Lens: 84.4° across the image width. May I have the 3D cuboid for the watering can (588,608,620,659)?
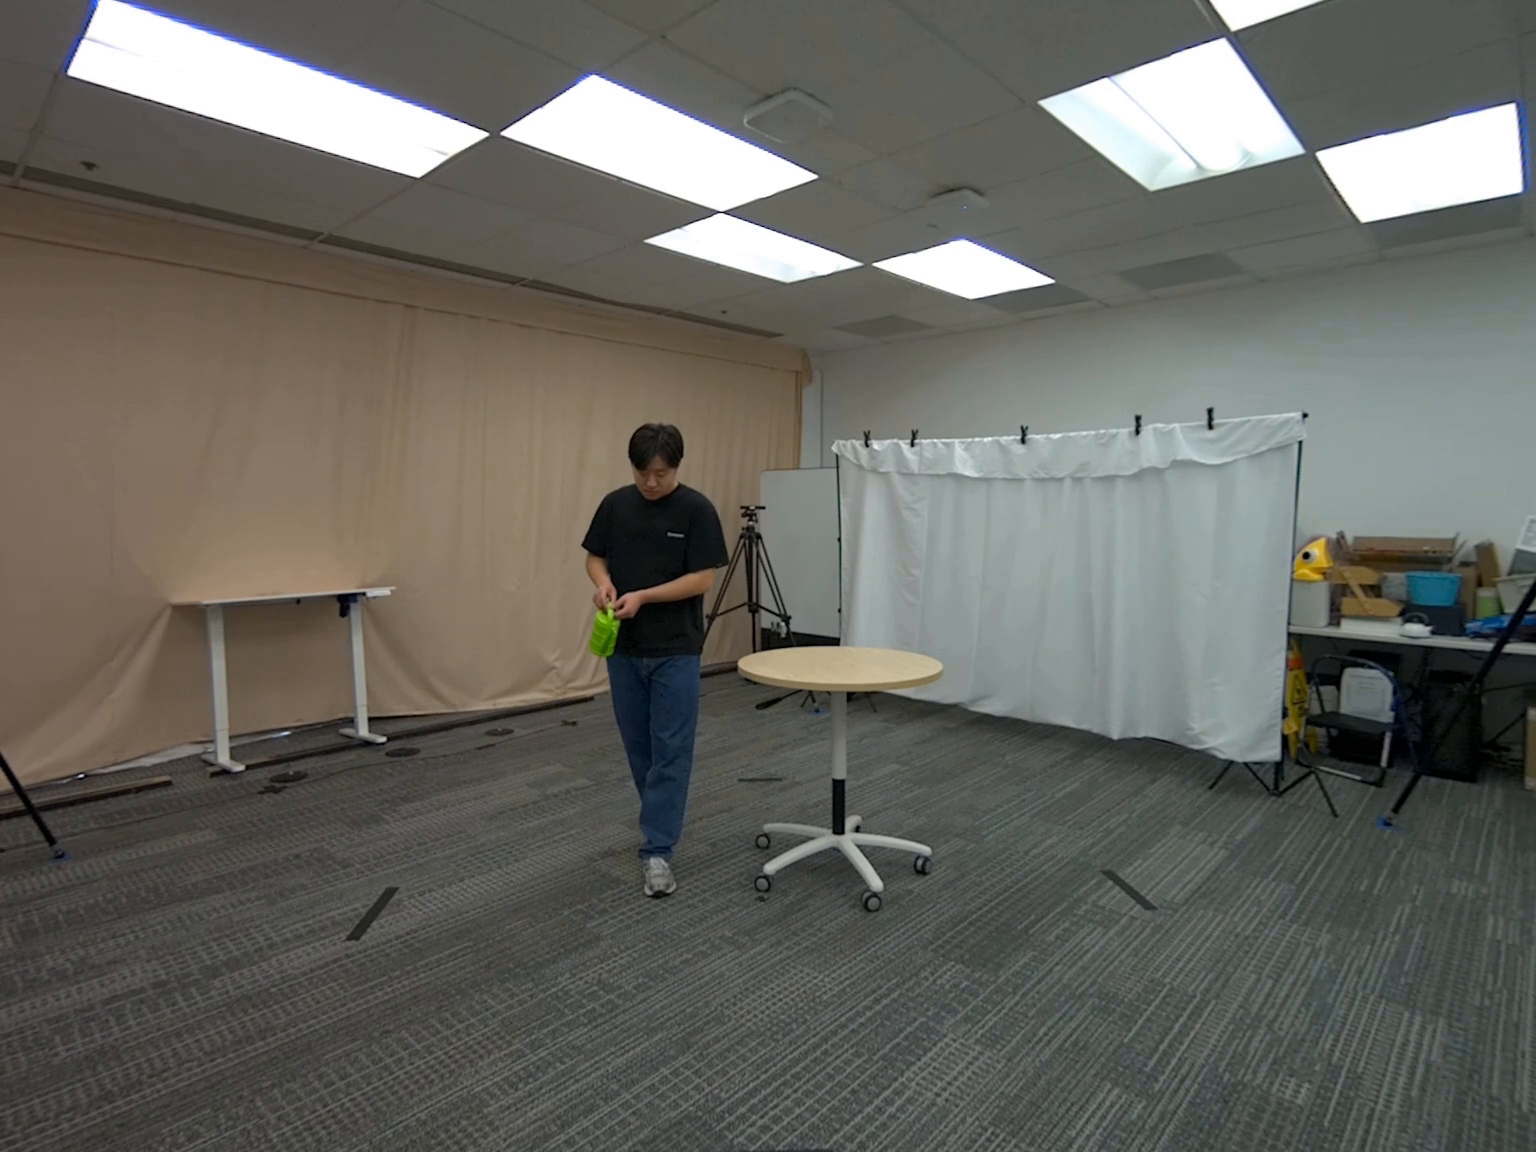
[{"bbox_3d":[-0.586,0.203,3.039,0.097,0.176,0.281,12,16,-5],"label":"watering can"}]
